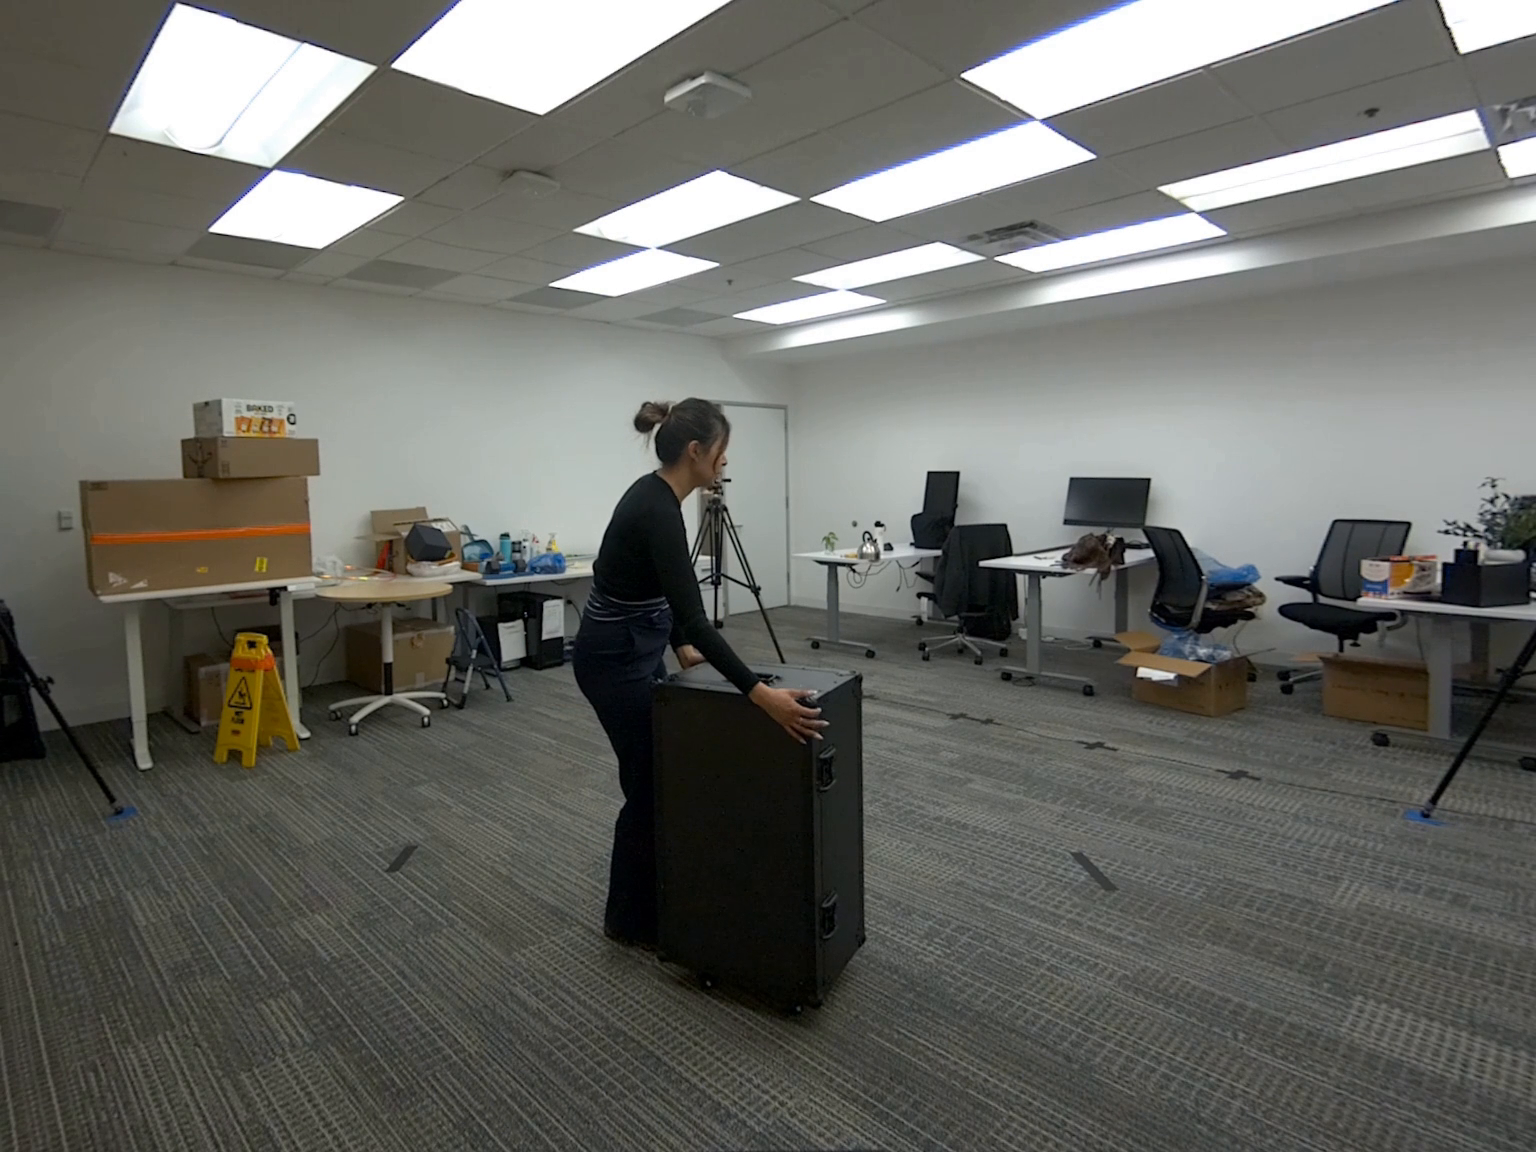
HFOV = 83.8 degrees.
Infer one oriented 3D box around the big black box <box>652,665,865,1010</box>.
[{"bbox_3d":[-0.016,0.708,2.396,0.534,0.859,0.388,1,4,28],"label":"big black box"}]
